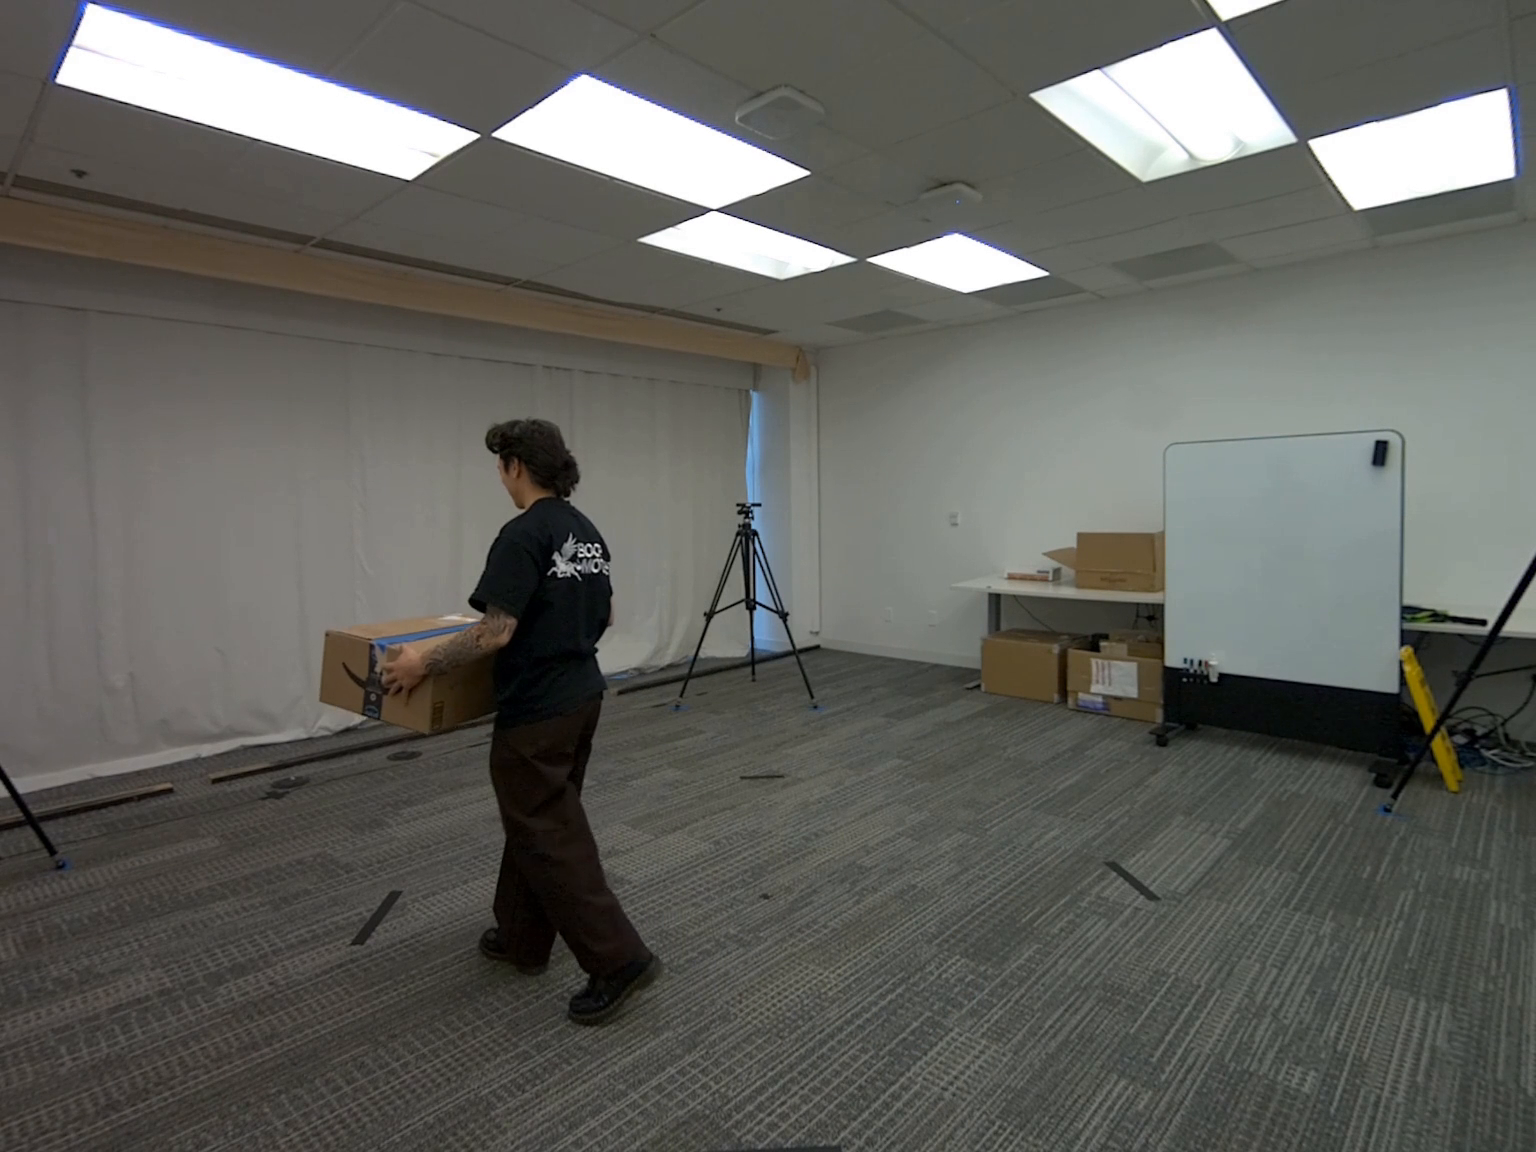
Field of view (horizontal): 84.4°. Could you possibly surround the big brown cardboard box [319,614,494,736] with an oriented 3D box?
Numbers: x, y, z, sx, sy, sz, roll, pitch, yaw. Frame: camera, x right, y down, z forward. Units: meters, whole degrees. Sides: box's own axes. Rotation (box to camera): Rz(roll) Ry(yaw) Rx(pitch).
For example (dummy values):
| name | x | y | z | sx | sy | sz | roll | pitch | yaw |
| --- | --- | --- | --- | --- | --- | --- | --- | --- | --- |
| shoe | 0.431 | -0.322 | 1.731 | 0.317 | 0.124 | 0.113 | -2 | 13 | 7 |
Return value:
| name | x | y | z | sx | sy | sz | roll | pitch | yaw |
| --- | --- | --- | --- | --- | --- | --- | --- | --- | --- |
| big brown cardboard box | -0.999 | 0.271 | 2.610 | 0.428 | 0.232 | 0.577 | 9 | 7 | 21 |
